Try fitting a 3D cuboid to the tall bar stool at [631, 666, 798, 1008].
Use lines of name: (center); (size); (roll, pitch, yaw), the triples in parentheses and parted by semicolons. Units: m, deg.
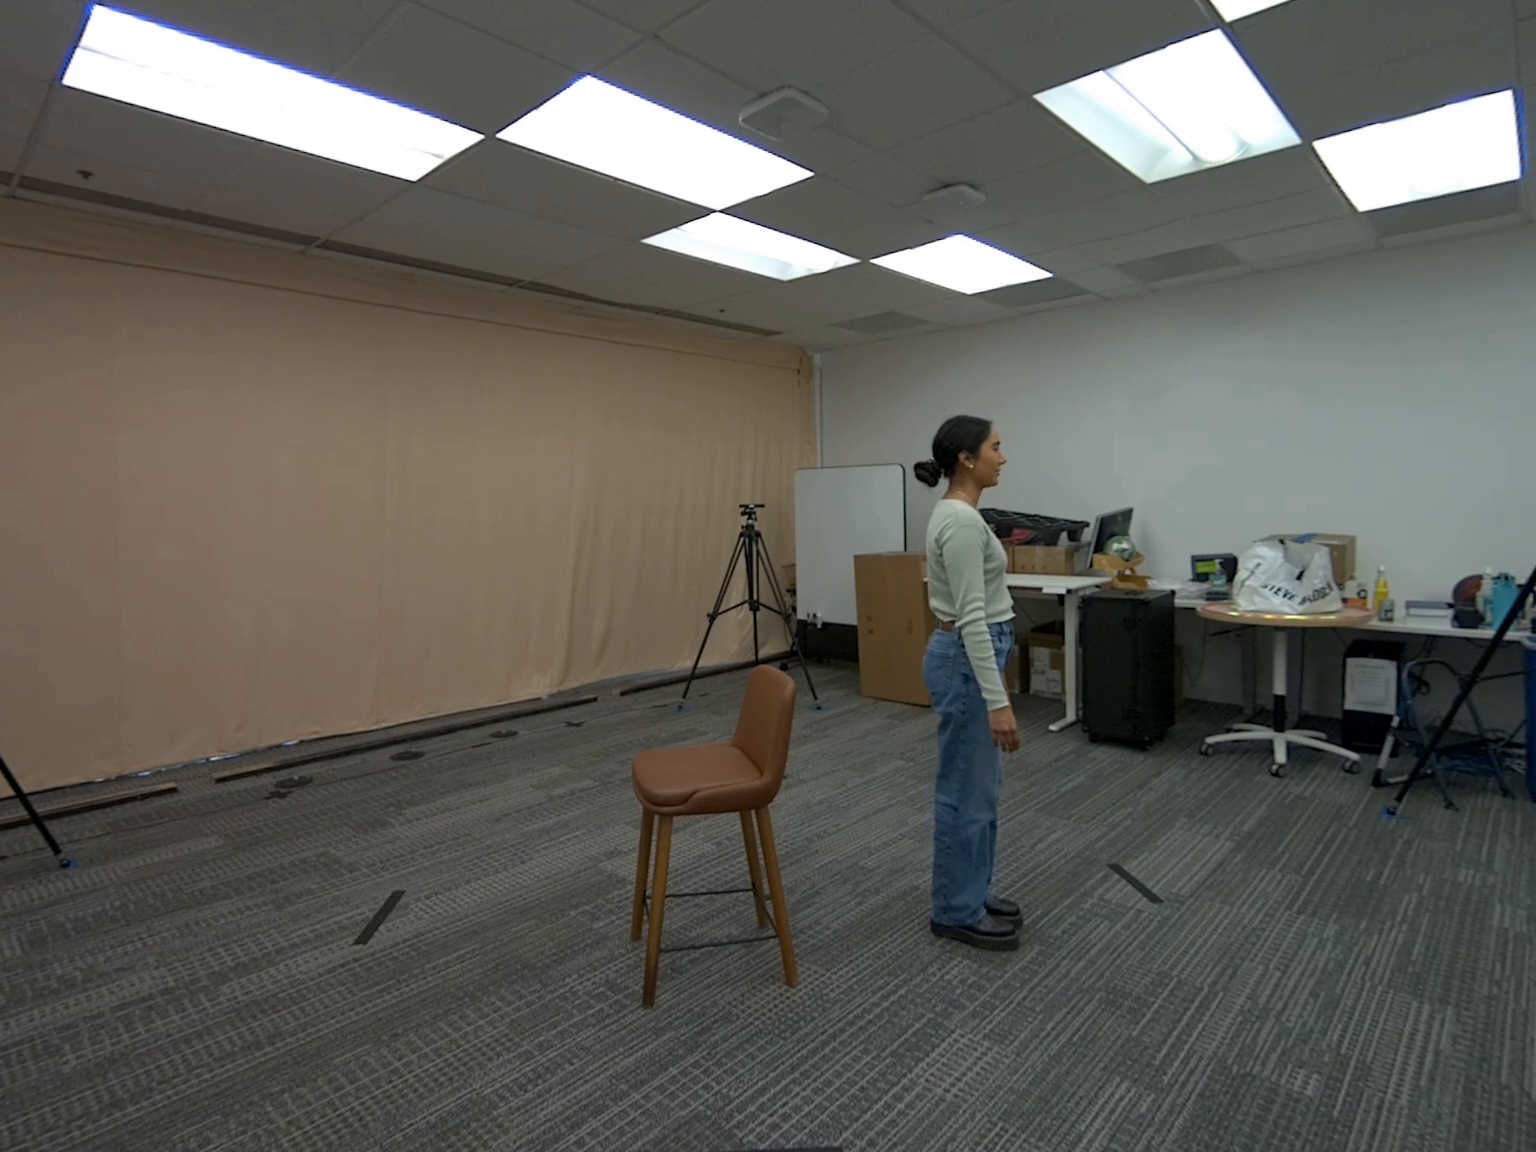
tall bar stool: (-0.172, 0.747, 2.553); (0.461, 0.888, 0.464); (0, 3, -13)
